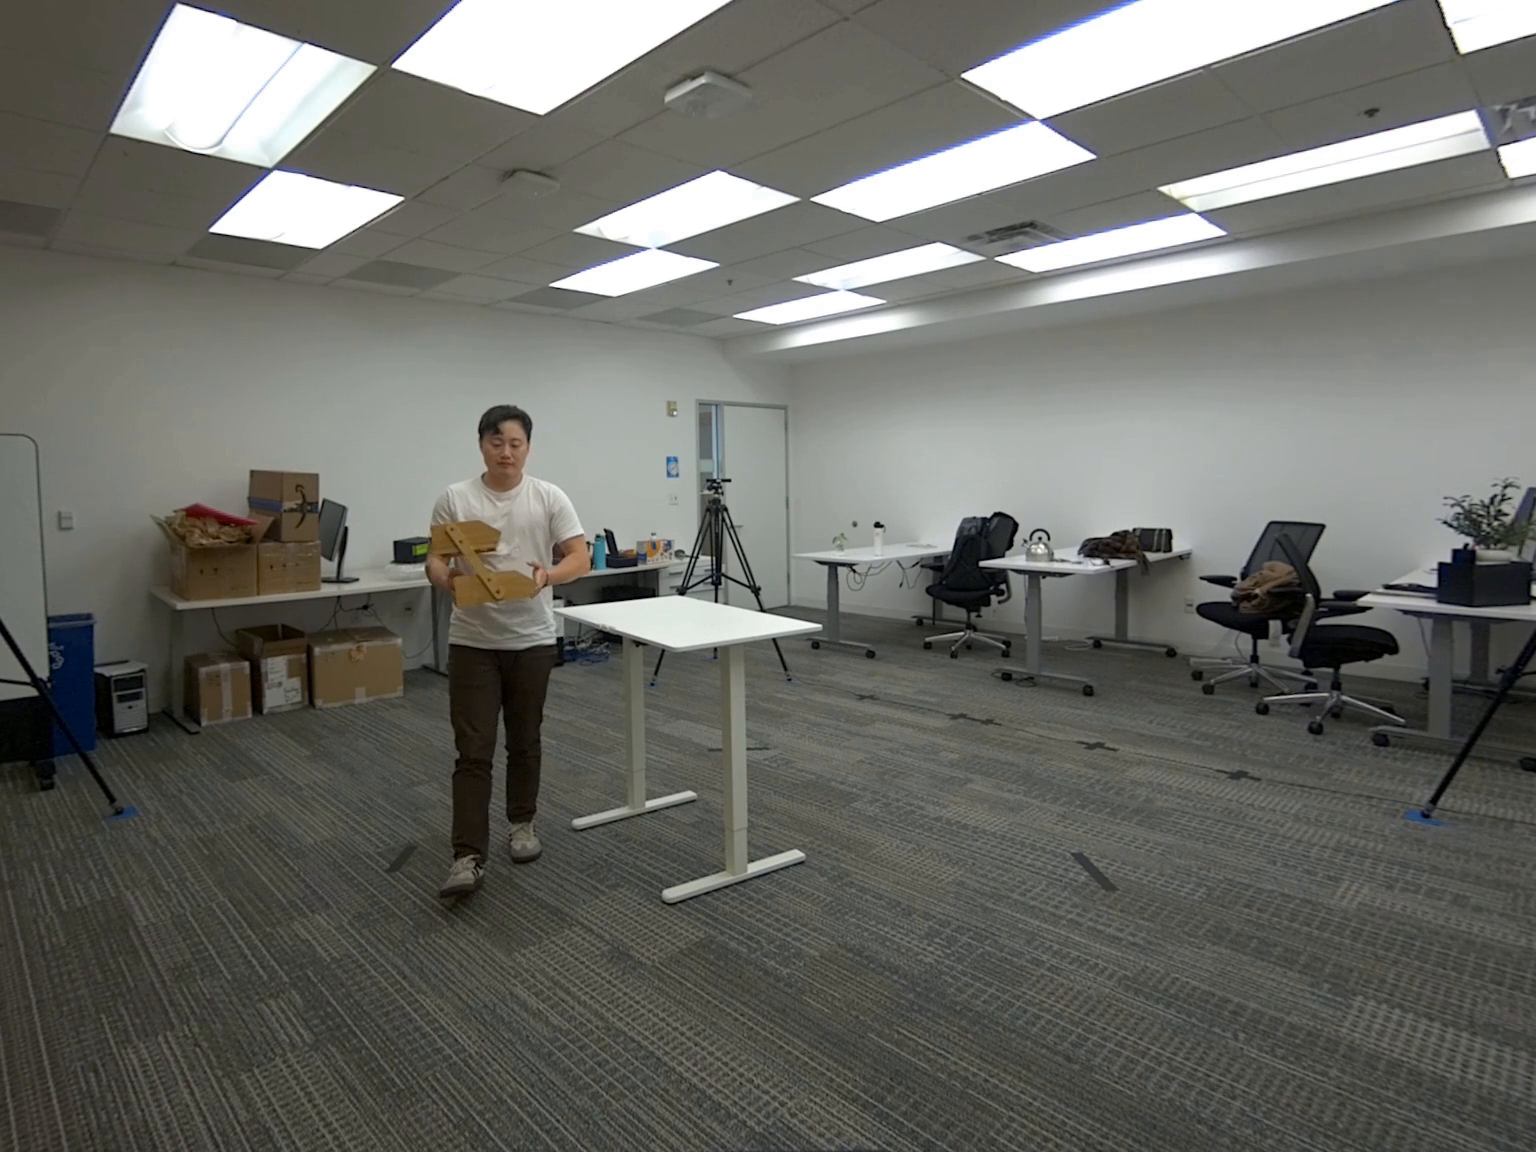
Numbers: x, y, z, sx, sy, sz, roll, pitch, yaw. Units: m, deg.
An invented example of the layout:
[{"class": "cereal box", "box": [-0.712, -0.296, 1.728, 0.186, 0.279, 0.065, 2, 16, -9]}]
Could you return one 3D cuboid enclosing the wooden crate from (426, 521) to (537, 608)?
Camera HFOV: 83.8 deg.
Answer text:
[{"class": "wooden crate", "box": [-0.951, -0.048, 2.806, 0.297, 0.274, 0.329, -7, 0, -18]}]
